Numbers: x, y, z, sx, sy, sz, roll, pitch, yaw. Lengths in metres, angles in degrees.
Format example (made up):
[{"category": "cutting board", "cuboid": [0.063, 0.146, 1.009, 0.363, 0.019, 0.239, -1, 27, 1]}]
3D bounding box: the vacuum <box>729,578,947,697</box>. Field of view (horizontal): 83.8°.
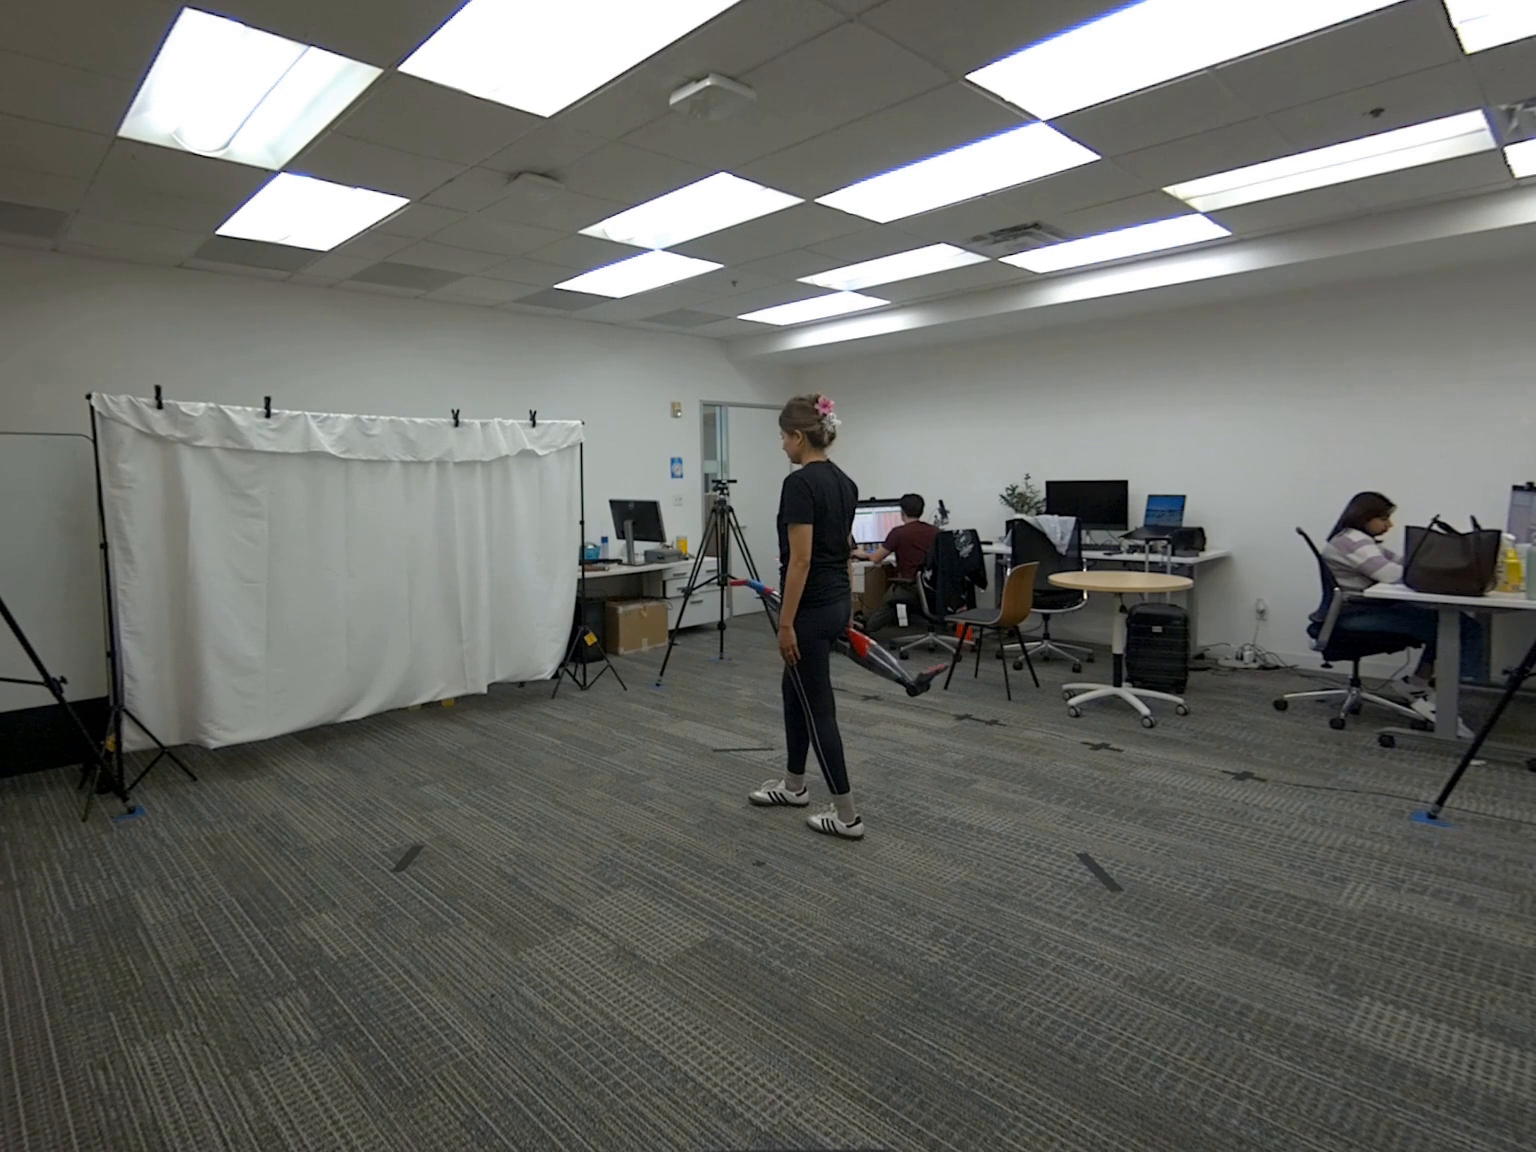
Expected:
[{"category": "vacuum", "cuboid": [0.238, 0.227, 3.750, 1.085, 0.143, 0.246, 25, 16, 31]}]
